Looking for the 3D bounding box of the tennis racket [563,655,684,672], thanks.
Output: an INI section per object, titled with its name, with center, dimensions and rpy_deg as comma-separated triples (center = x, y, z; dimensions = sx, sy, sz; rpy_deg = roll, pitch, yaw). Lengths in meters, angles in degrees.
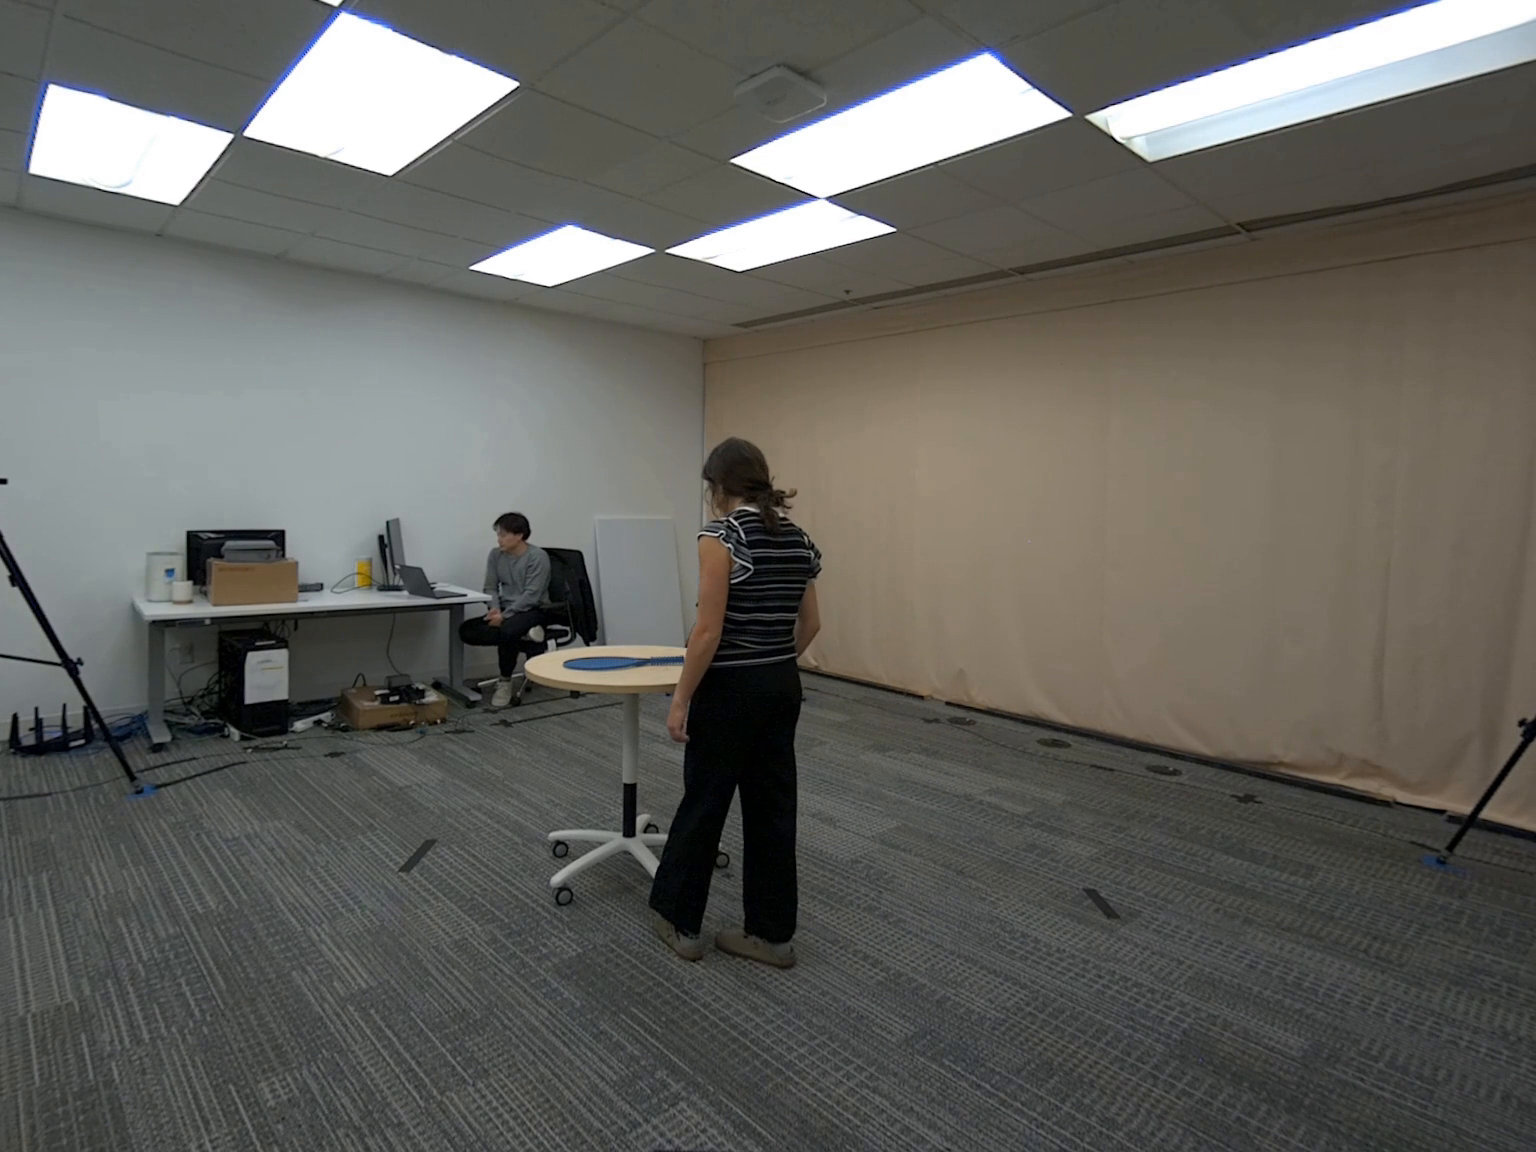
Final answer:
[tennis racket]
center = -0.533, 0.315, 3.020
dimensions = 0.430, 0.031, 0.216
rpy_deg = -1, 5, -8
